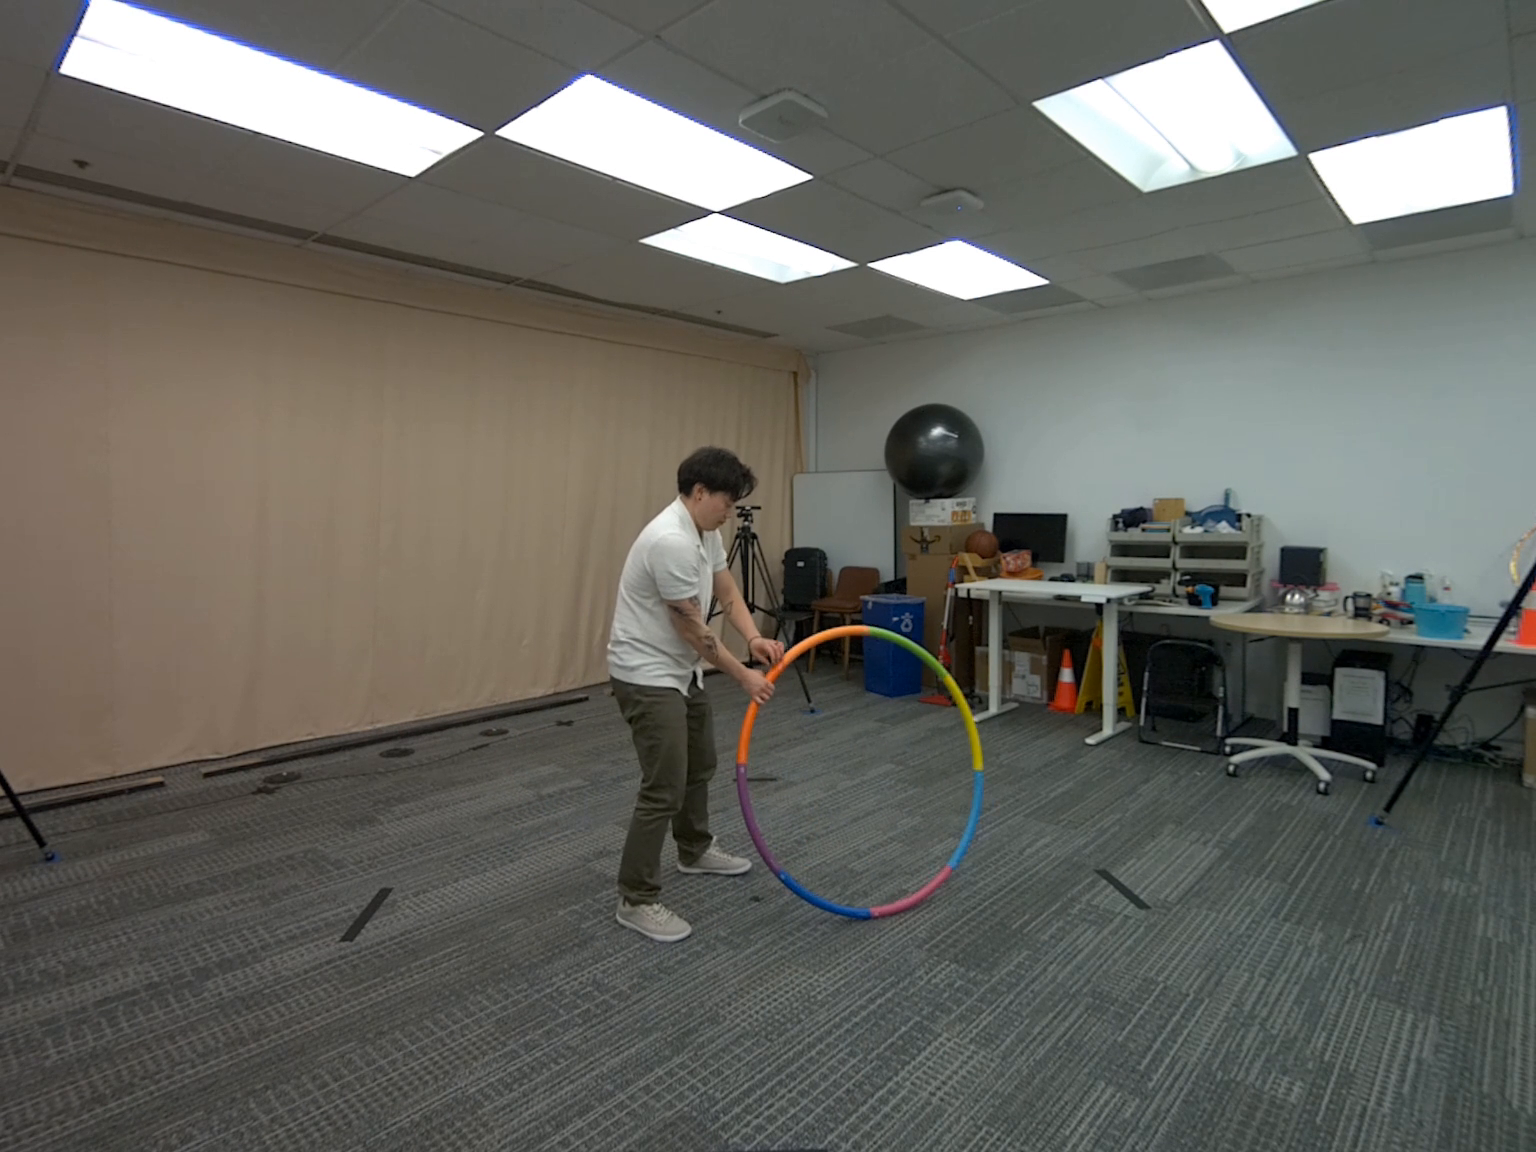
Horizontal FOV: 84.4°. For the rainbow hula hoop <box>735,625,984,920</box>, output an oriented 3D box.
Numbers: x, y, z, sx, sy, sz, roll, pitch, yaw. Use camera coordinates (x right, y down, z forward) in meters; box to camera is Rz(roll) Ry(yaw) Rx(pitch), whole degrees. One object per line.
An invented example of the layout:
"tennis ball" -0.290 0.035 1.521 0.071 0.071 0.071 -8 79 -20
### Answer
"rainbow hula hoop" 0.346 0.672 2.927 0.956 0.986 0.036 -2 -11 -24
